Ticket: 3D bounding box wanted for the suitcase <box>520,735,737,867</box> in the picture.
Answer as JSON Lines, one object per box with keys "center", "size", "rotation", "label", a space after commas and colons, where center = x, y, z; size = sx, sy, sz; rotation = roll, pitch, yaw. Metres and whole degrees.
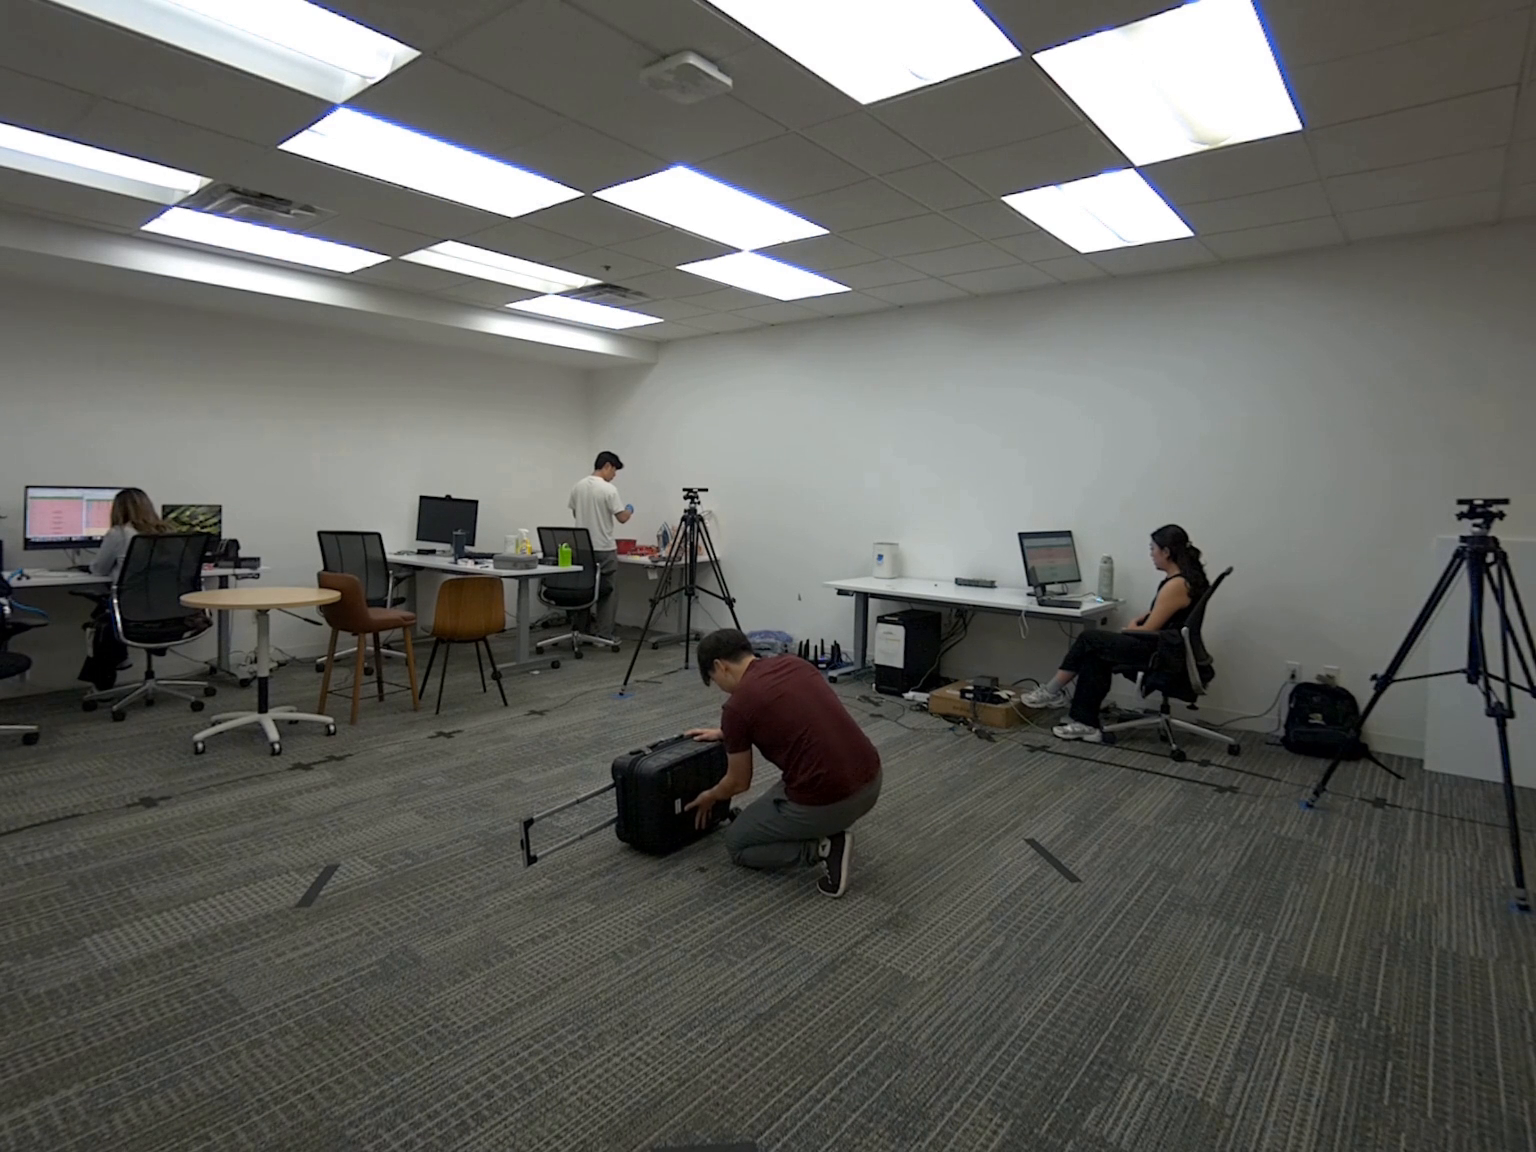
{"center": [-0.499, 0.865, 3.250], "size": [0.264, 0.383, 0.952], "rotation": [-3, 3, 34], "label": "suitcase"}
